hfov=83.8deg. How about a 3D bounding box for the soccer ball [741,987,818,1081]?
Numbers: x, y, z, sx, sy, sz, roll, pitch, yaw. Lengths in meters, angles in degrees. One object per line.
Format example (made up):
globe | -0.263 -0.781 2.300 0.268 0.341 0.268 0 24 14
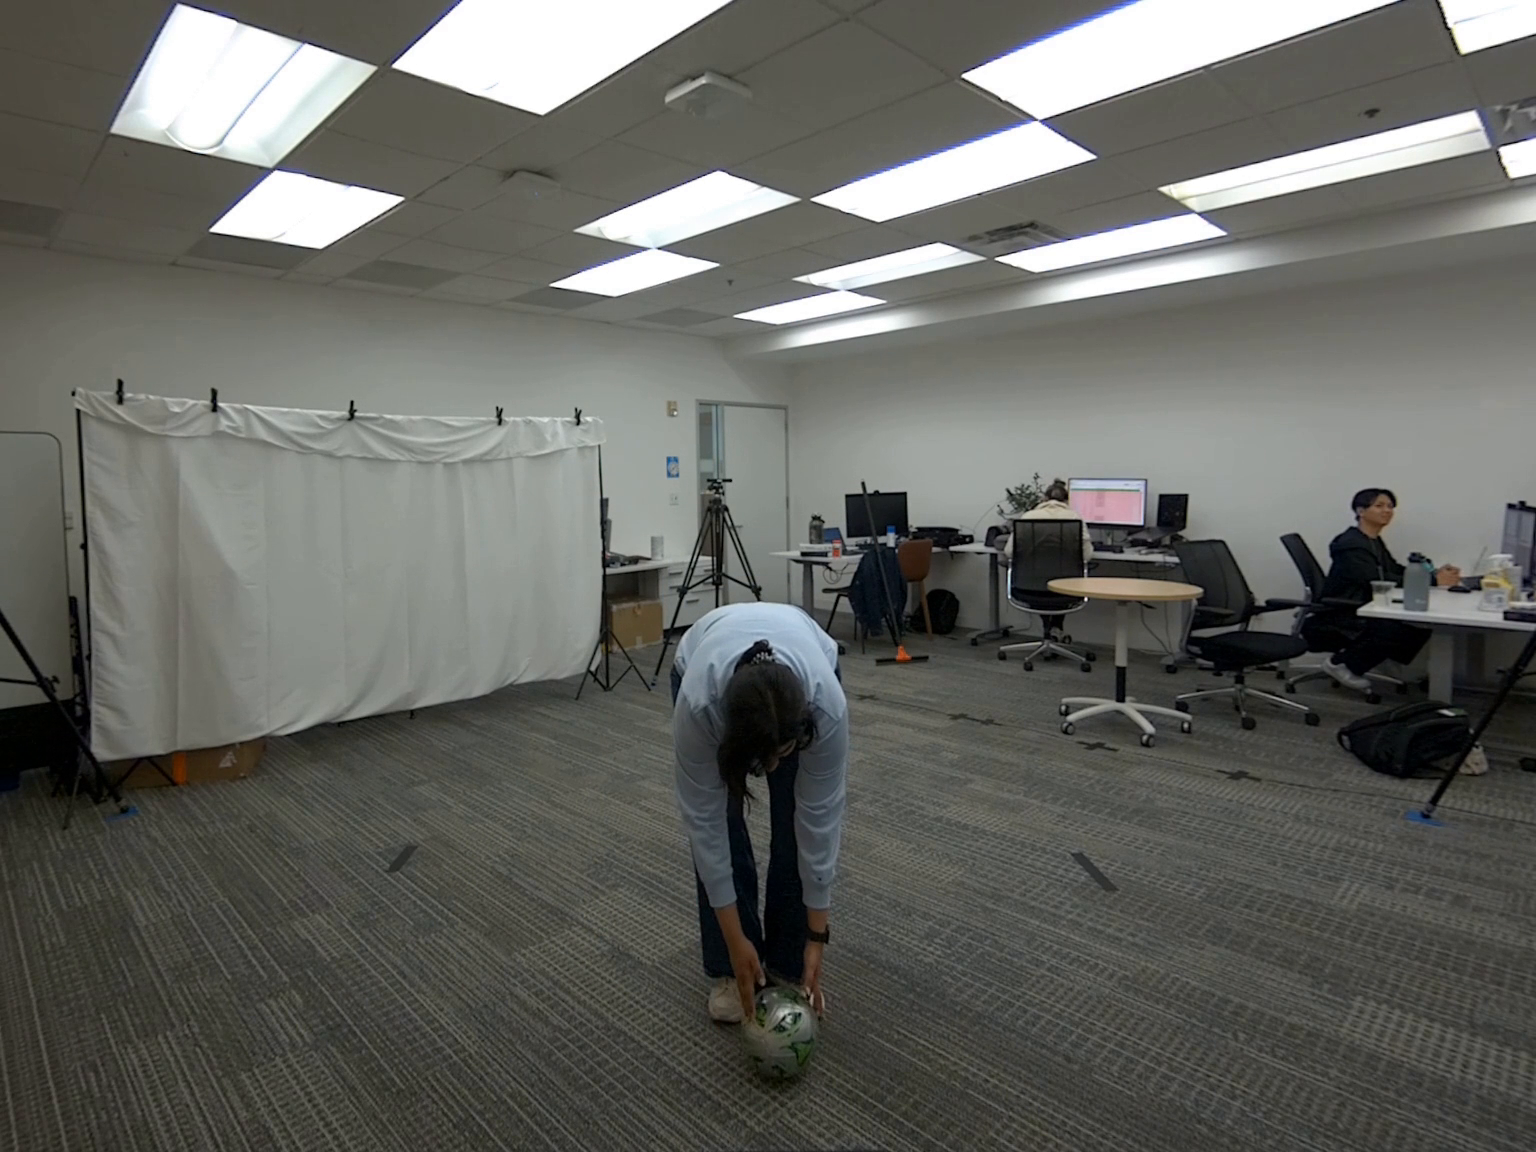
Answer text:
soccer ball | 0.028 1.082 2.010 0.187 0.187 0.188 -1 5 -2
